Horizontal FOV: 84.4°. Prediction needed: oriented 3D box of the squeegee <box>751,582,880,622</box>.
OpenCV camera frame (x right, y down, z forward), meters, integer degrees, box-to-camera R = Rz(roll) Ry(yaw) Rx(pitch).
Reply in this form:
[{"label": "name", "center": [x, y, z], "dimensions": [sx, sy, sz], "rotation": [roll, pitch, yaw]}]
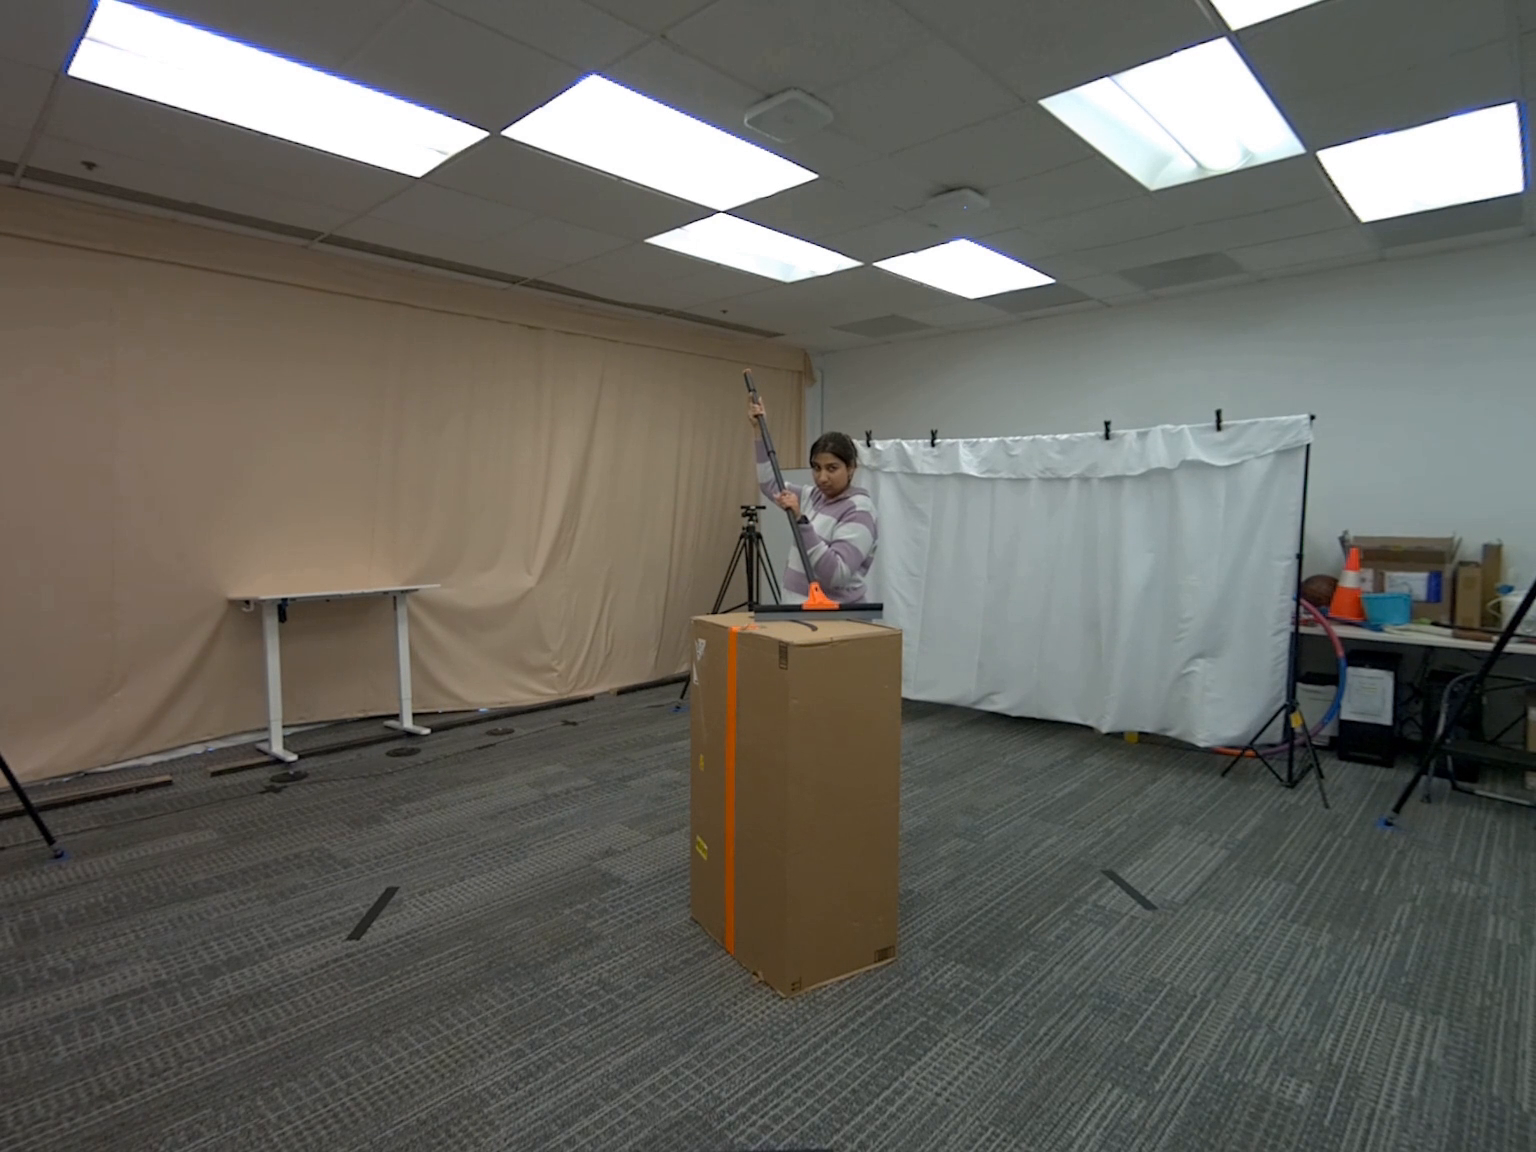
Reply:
[{"label": "squeegee", "center": [0.005, -0.399, 3.280], "dimensions": [0.433, 0.052, 1.575], "rotation": [-1, 44, -10]}]
